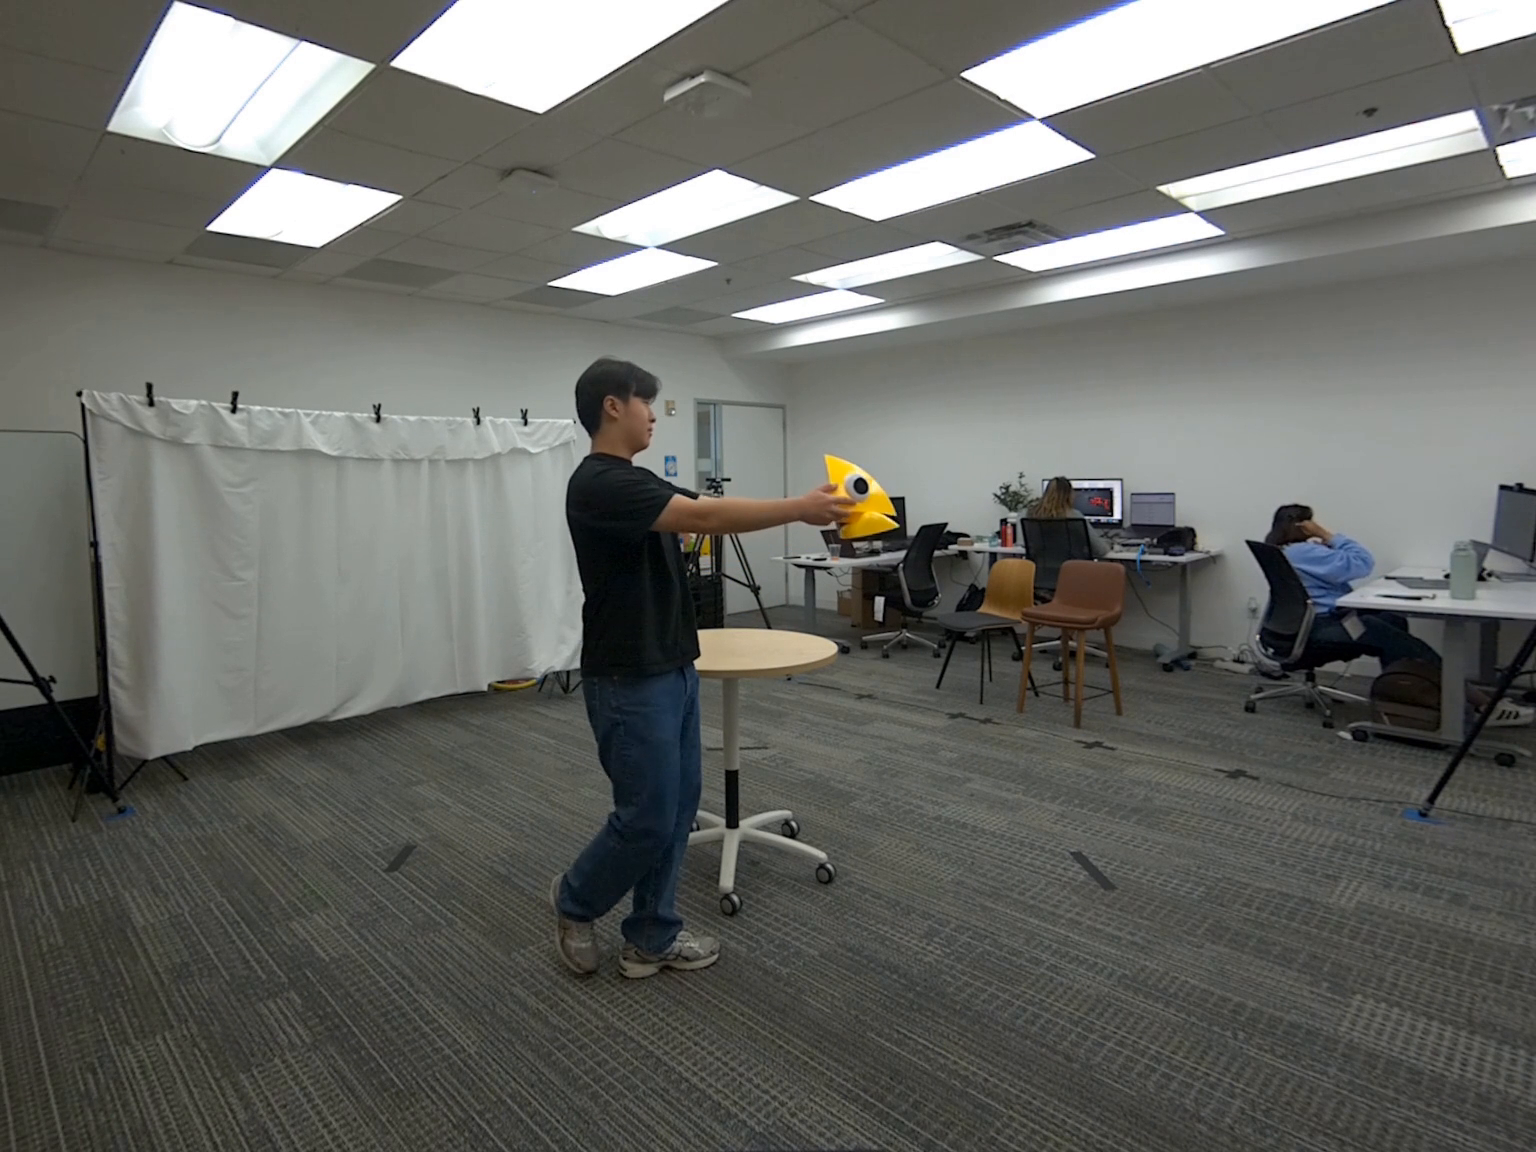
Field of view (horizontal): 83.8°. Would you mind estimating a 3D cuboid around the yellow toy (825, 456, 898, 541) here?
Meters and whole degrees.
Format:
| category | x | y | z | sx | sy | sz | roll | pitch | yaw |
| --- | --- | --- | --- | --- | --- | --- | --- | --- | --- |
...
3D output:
| category | x | y | z | sx | sy | sz | roll | pitch | yaw |
| --- | --- | --- | --- | --- | --- | --- | --- | --- | --- |
| yellow toy | 0.234 | -0.233 | 2.349 | 0.194 | 0.229 | 0.205 | -12 | 6 | 4 |
